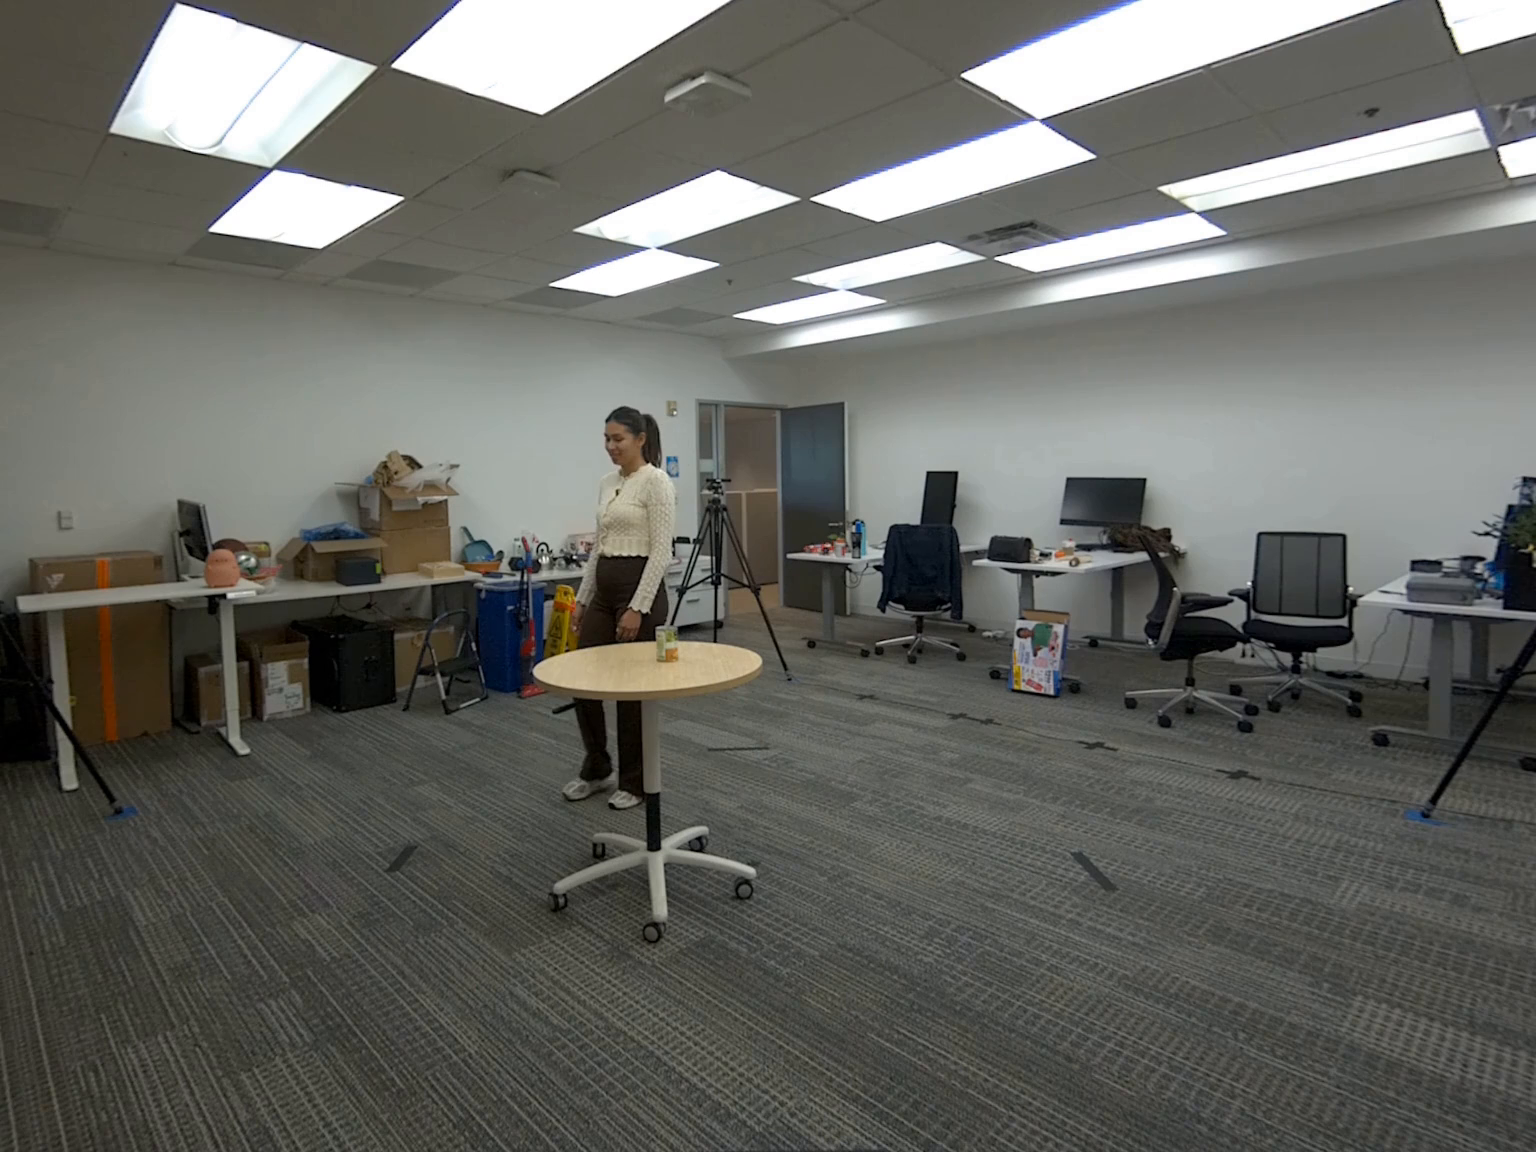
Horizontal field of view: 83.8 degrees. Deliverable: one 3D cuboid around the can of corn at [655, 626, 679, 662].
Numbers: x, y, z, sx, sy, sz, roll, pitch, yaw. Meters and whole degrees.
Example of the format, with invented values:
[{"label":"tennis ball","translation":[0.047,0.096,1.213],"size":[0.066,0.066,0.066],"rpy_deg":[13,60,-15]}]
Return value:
[{"label":"can of corn","translation":[-0.344,0.229,2.915],"size":[0.074,0.111,0.074],"rpy_deg":[0,4,-2]}]
